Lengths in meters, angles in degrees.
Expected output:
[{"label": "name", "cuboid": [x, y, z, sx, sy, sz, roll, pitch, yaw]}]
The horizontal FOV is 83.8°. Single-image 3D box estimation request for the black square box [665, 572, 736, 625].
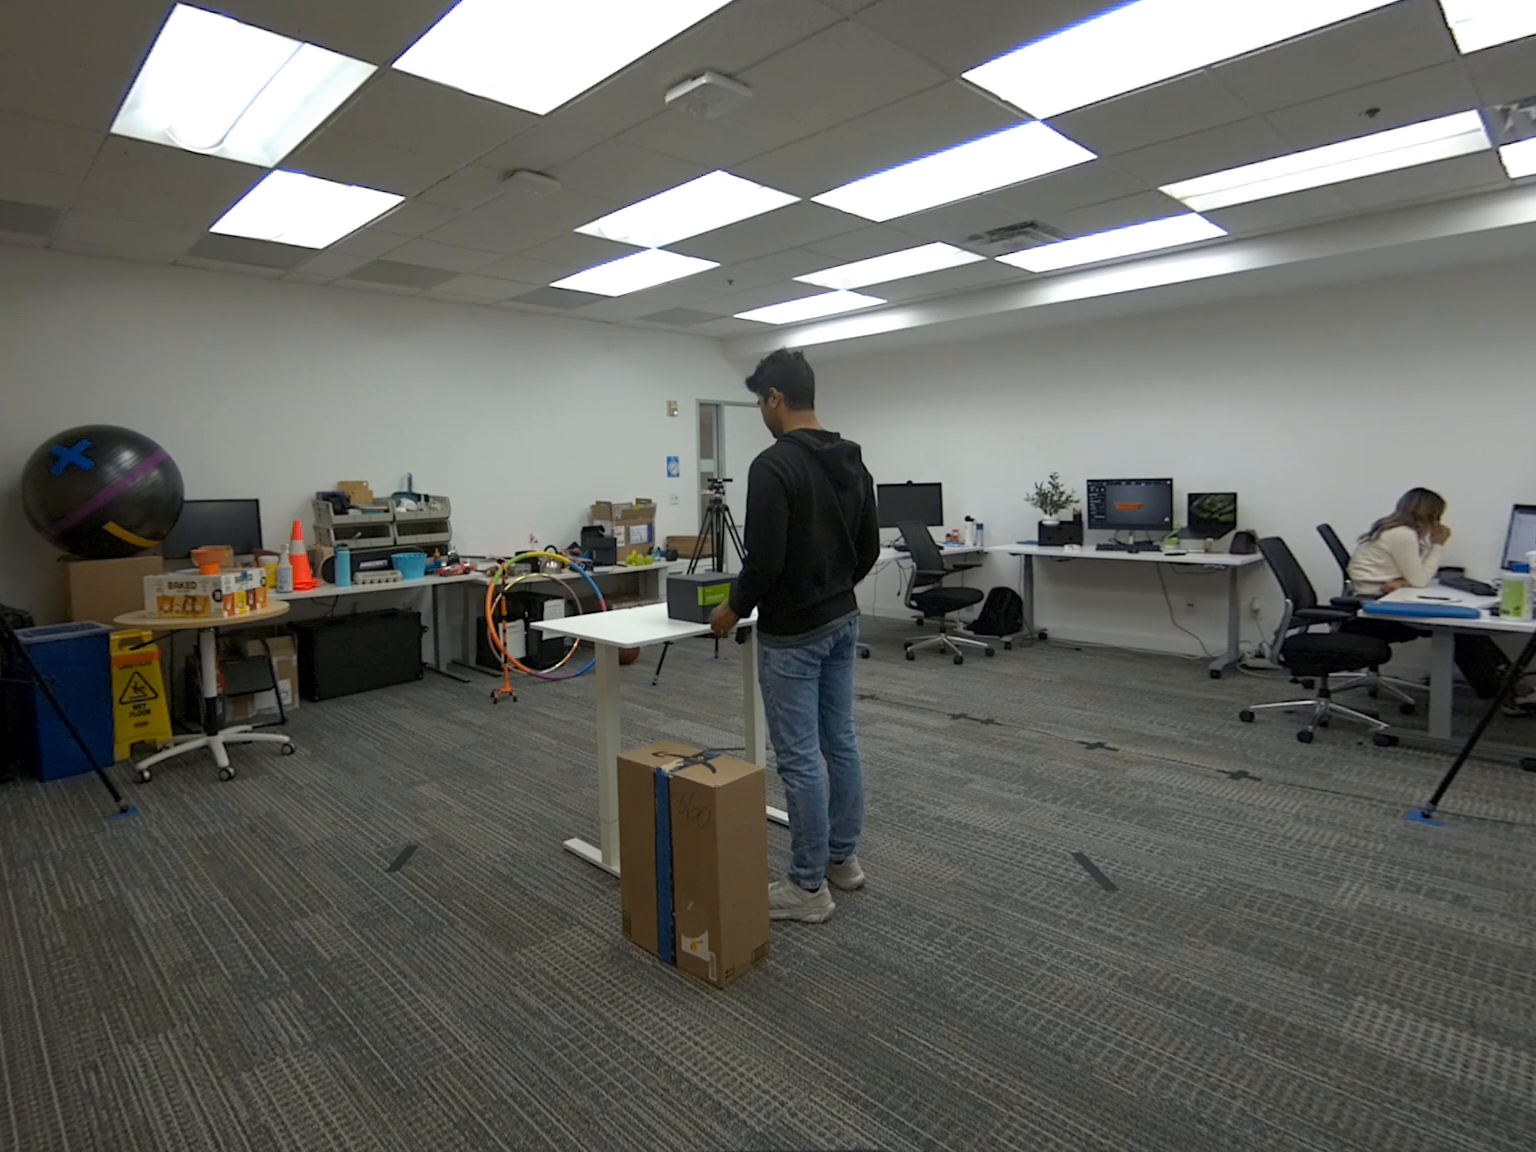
[{"label": "black square box", "cuboid": [-0.220, 0.076, 3.177, 0.222, 0.155, 0.224, -7, 8, -43]}]
